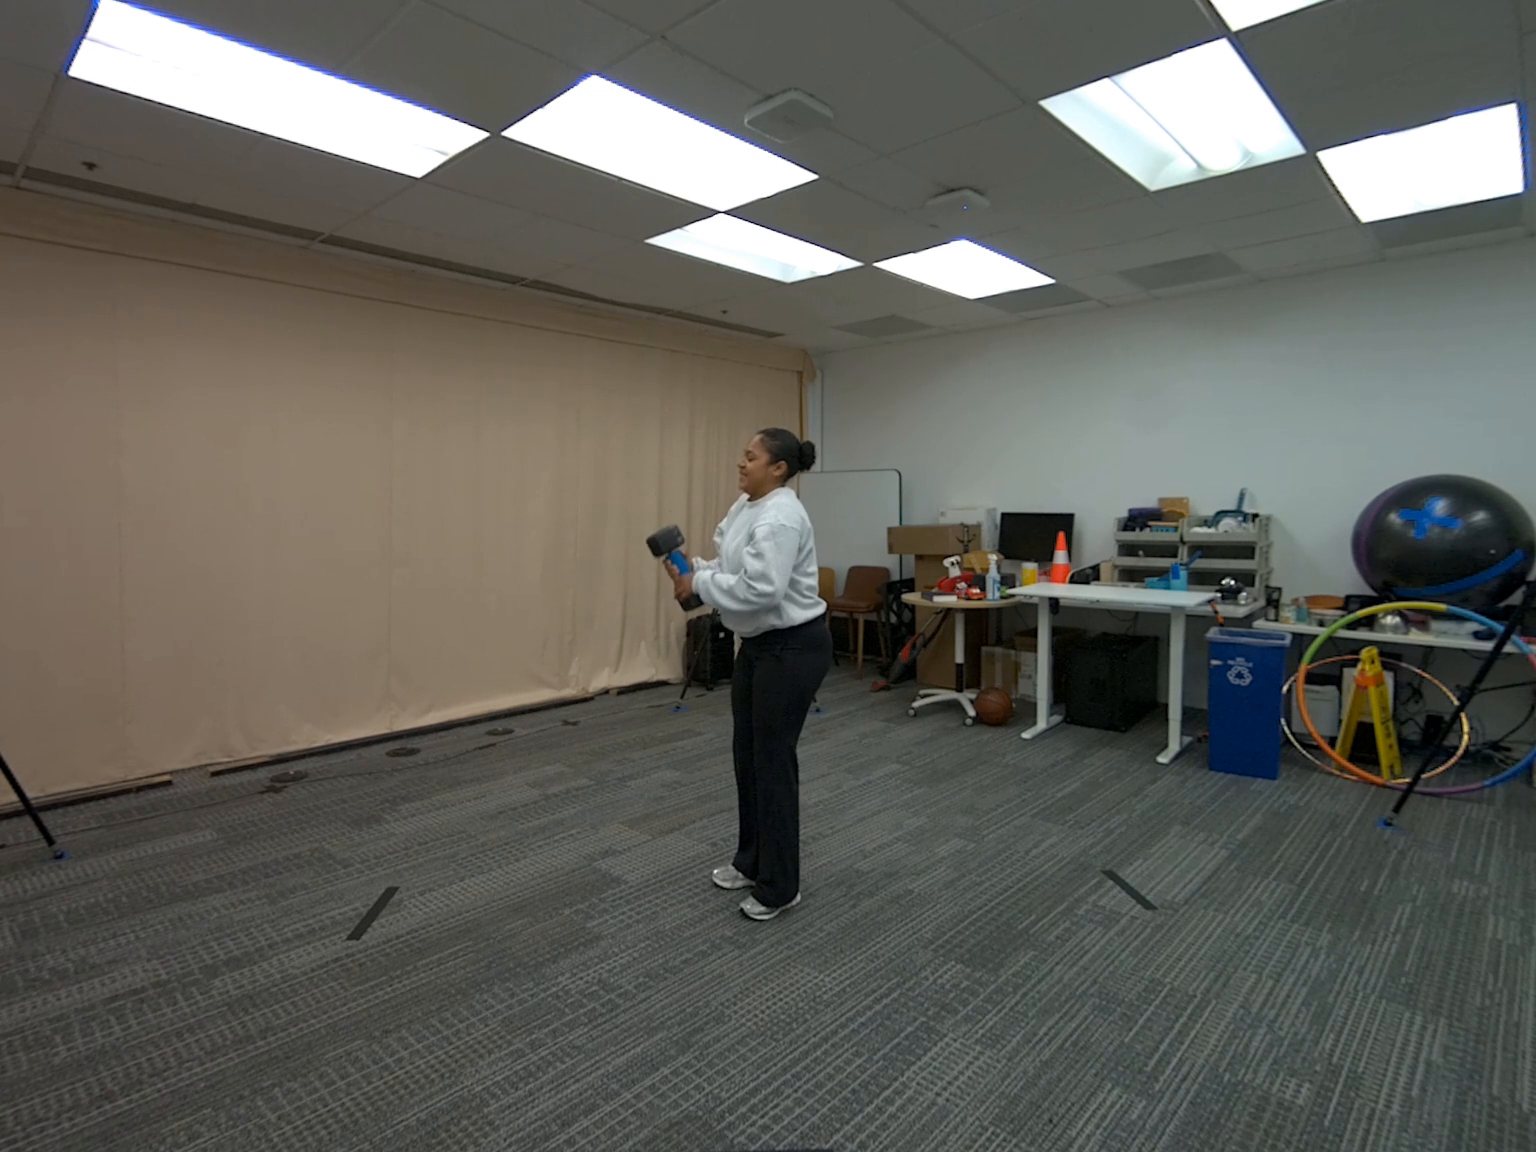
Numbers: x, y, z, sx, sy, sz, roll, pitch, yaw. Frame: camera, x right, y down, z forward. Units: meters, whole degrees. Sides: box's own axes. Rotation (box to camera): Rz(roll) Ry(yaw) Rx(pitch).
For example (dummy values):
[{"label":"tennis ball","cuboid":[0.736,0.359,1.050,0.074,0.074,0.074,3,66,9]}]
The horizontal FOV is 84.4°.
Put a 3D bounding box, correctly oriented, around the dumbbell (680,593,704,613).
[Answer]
[{"label":"dumbbell","cuboid":[-0.288,-0.034,2.888,0.110,0.292,0.122,-28,4,21]}]
